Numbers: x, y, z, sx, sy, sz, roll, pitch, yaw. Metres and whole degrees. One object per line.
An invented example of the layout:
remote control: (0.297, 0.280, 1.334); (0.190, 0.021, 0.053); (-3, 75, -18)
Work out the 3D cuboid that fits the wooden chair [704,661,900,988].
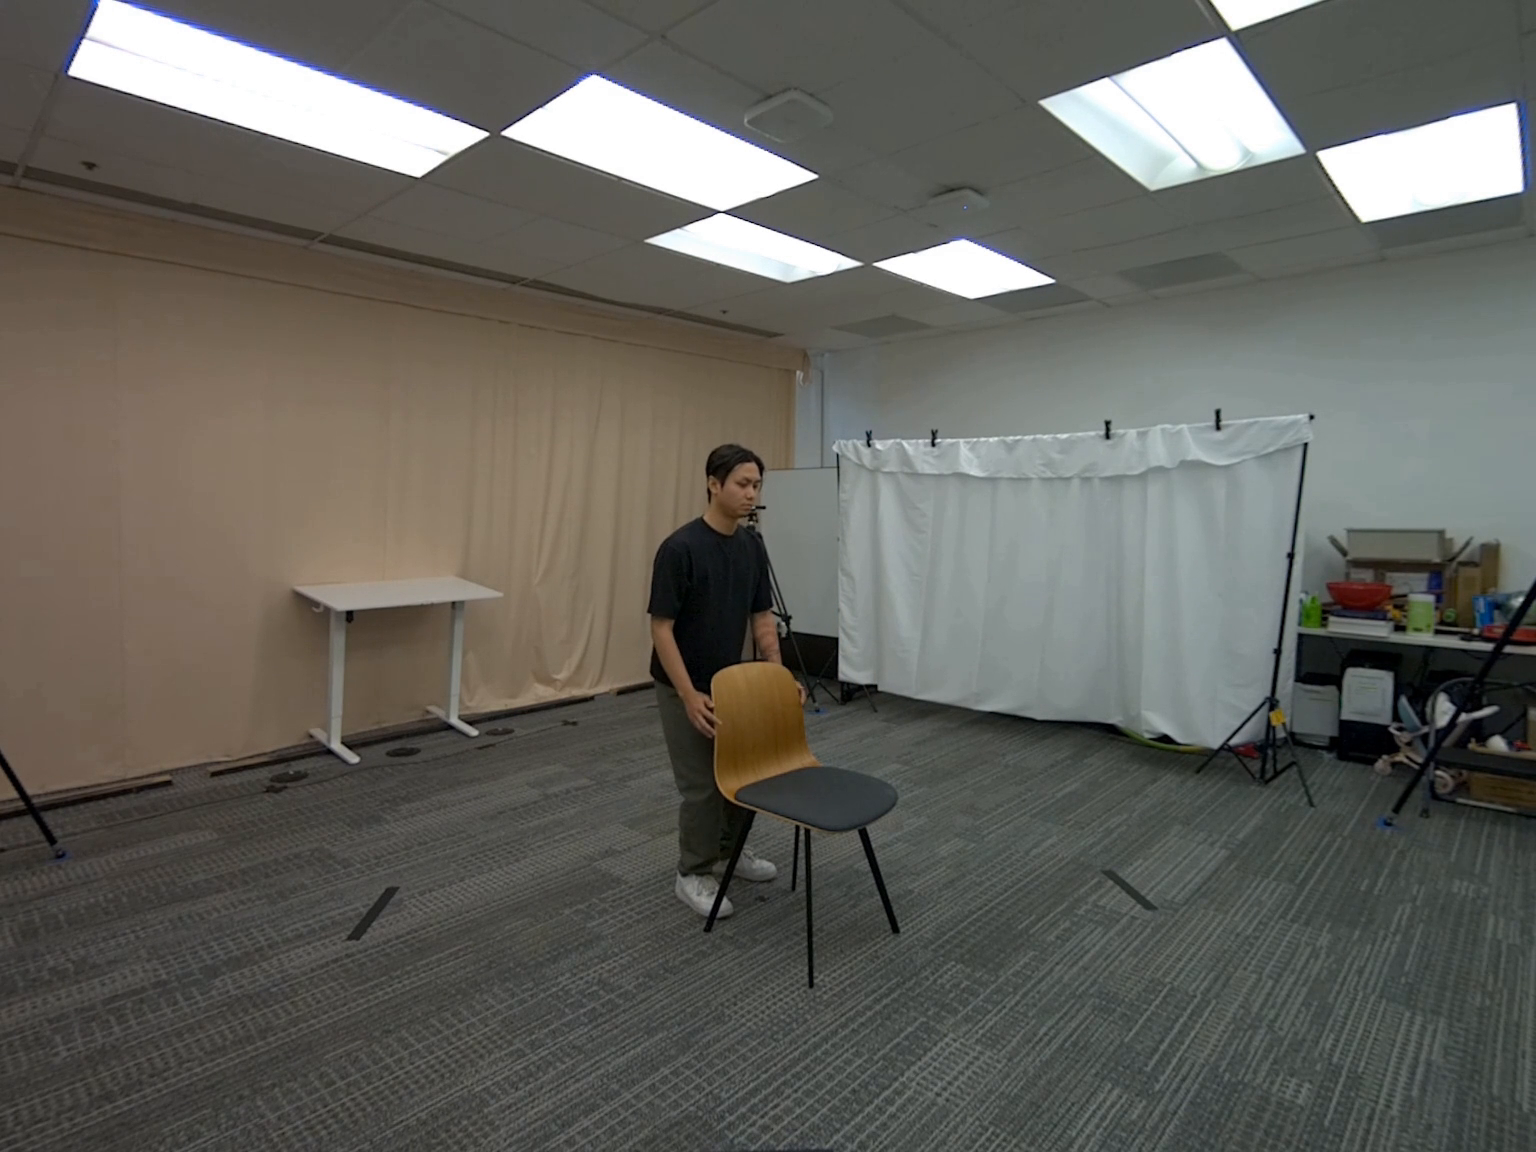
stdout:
wooden chair: (0.121, 0.736, 2.711); (0.539, 0.878, 0.463); (-4, -1, 44)
